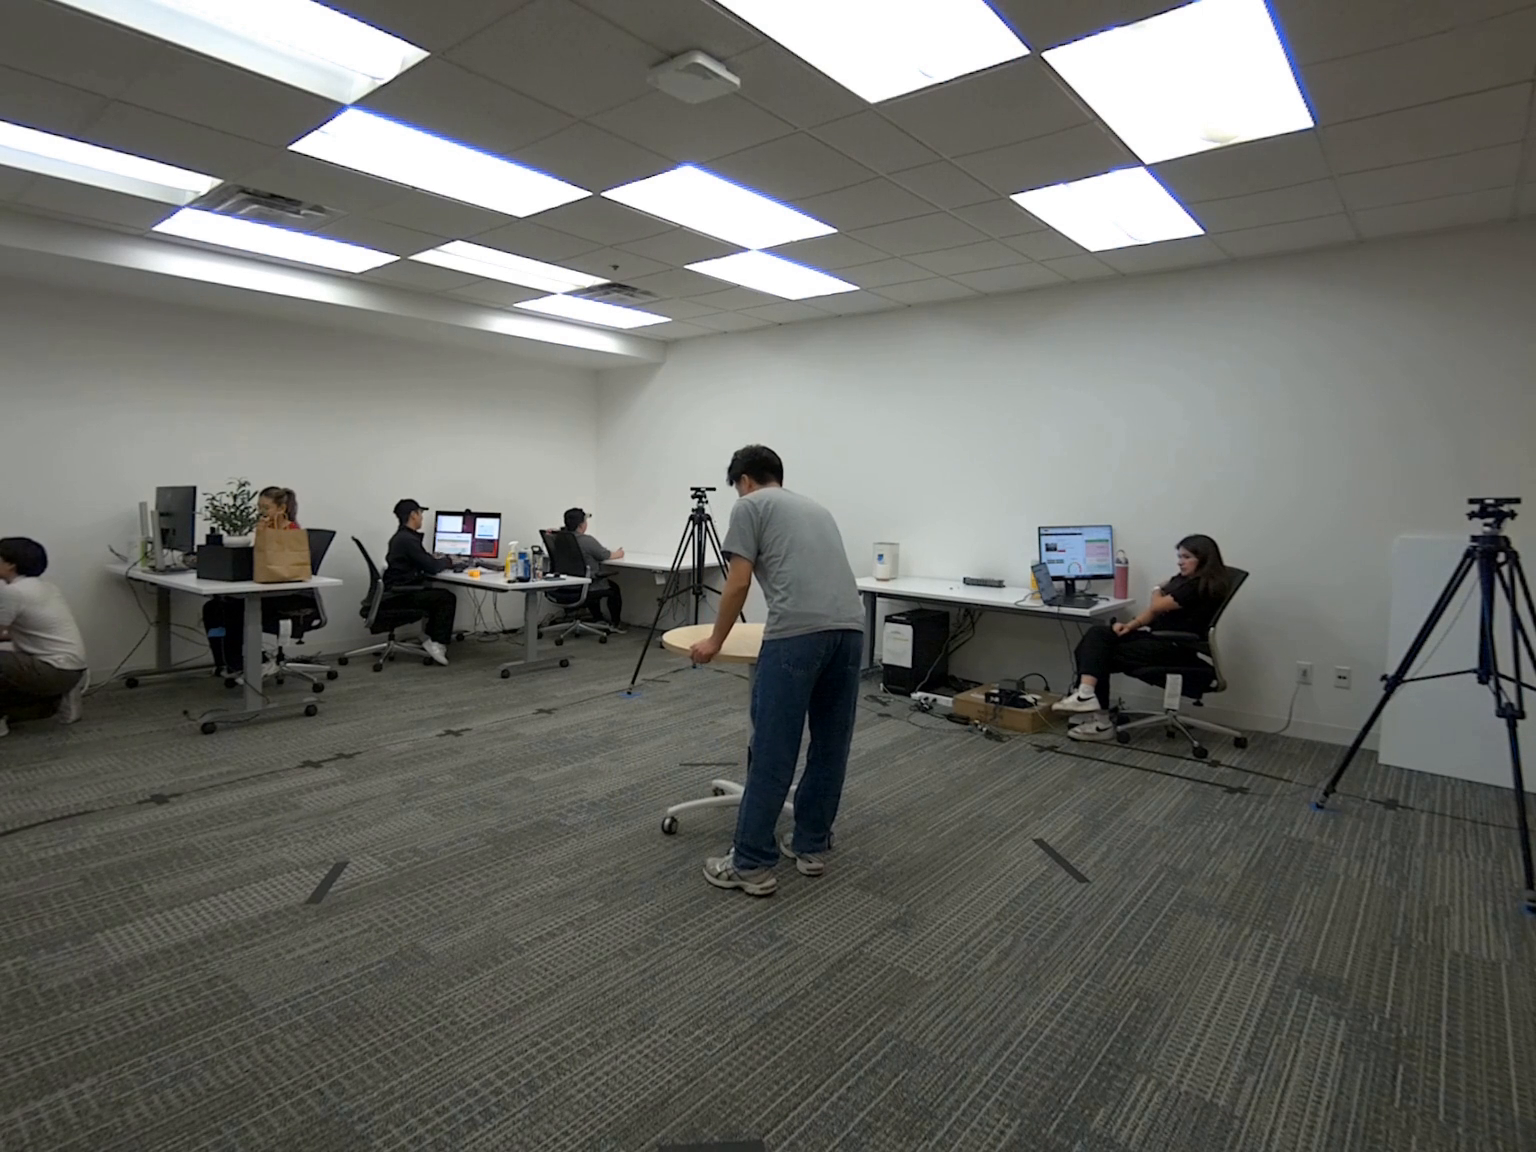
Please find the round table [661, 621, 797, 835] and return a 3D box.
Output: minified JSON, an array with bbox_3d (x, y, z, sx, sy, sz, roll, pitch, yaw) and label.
[{"bbox_3d":[-0.076,0.641,3.476,0.763,0.791,0.768,1,4,-2],"label":"round table"}]
